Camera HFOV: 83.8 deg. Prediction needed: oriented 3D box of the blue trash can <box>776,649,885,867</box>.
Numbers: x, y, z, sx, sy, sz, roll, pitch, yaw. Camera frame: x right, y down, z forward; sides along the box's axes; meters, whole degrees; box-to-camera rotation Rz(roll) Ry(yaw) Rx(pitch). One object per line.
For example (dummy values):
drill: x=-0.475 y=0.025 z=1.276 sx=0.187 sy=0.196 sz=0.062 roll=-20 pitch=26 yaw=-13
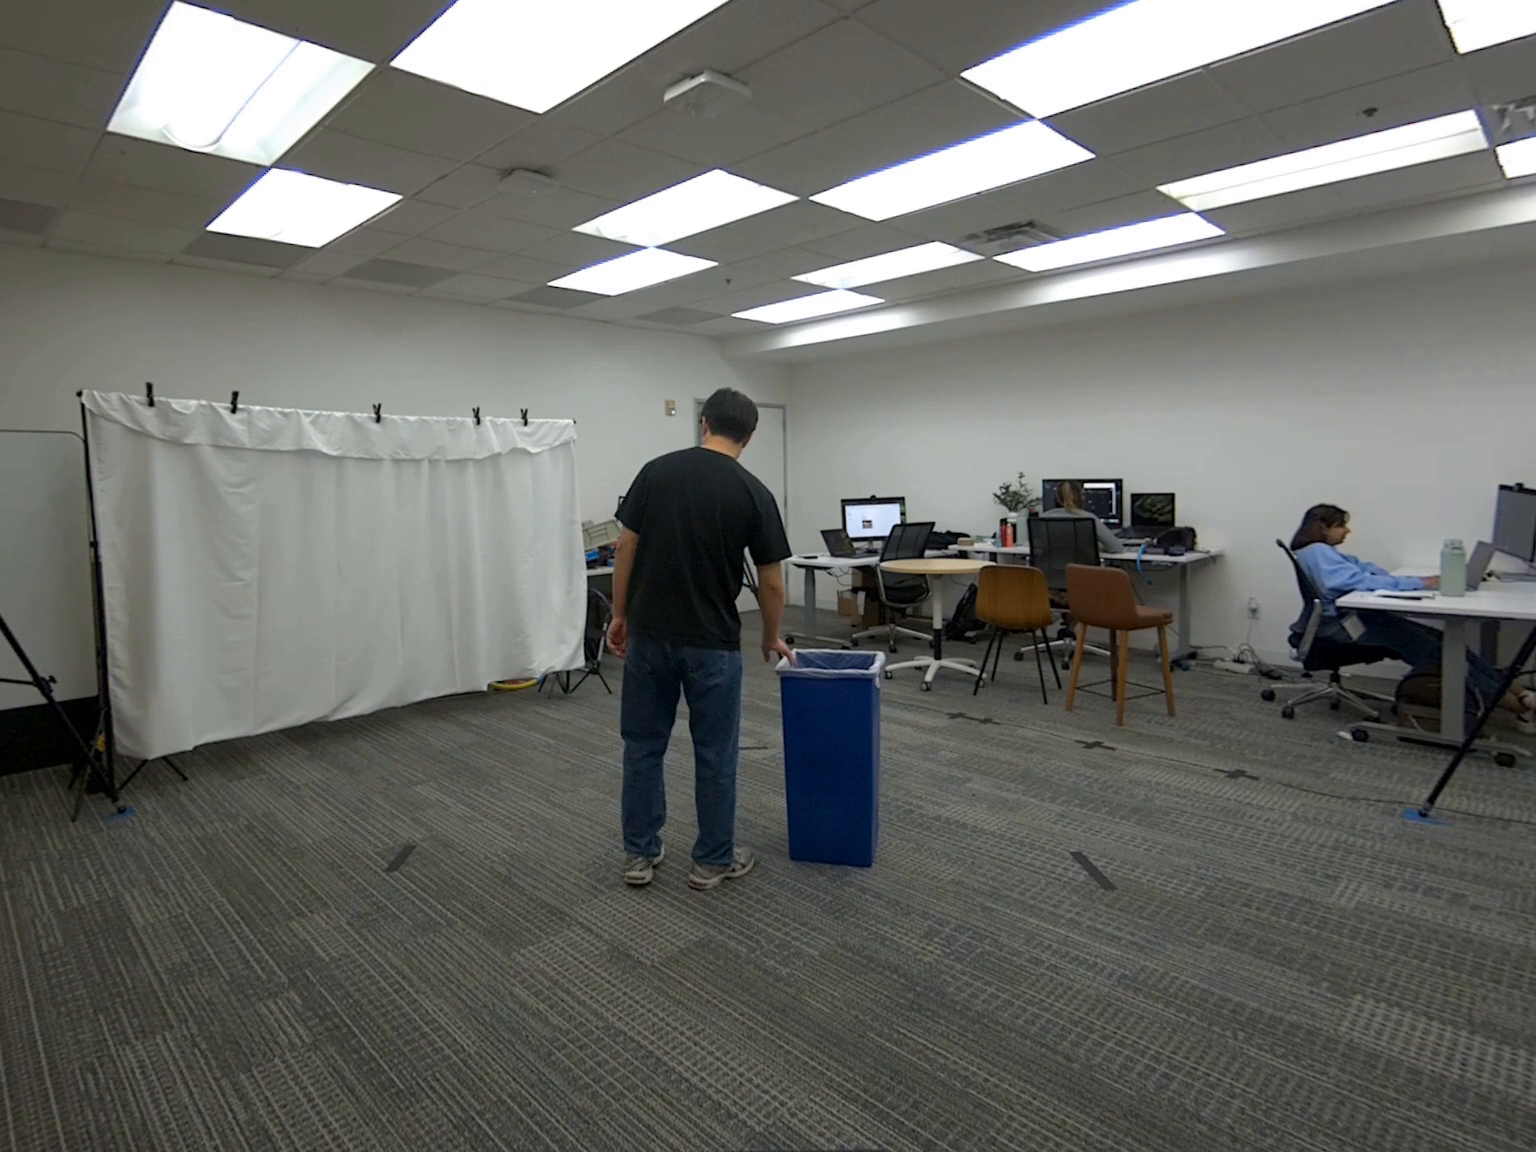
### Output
blue trash can: x=0.256 y=0.666 z=3.213 sx=0.379 sy=0.711 sz=0.374 roll=-1 pitch=4 yaw=13
